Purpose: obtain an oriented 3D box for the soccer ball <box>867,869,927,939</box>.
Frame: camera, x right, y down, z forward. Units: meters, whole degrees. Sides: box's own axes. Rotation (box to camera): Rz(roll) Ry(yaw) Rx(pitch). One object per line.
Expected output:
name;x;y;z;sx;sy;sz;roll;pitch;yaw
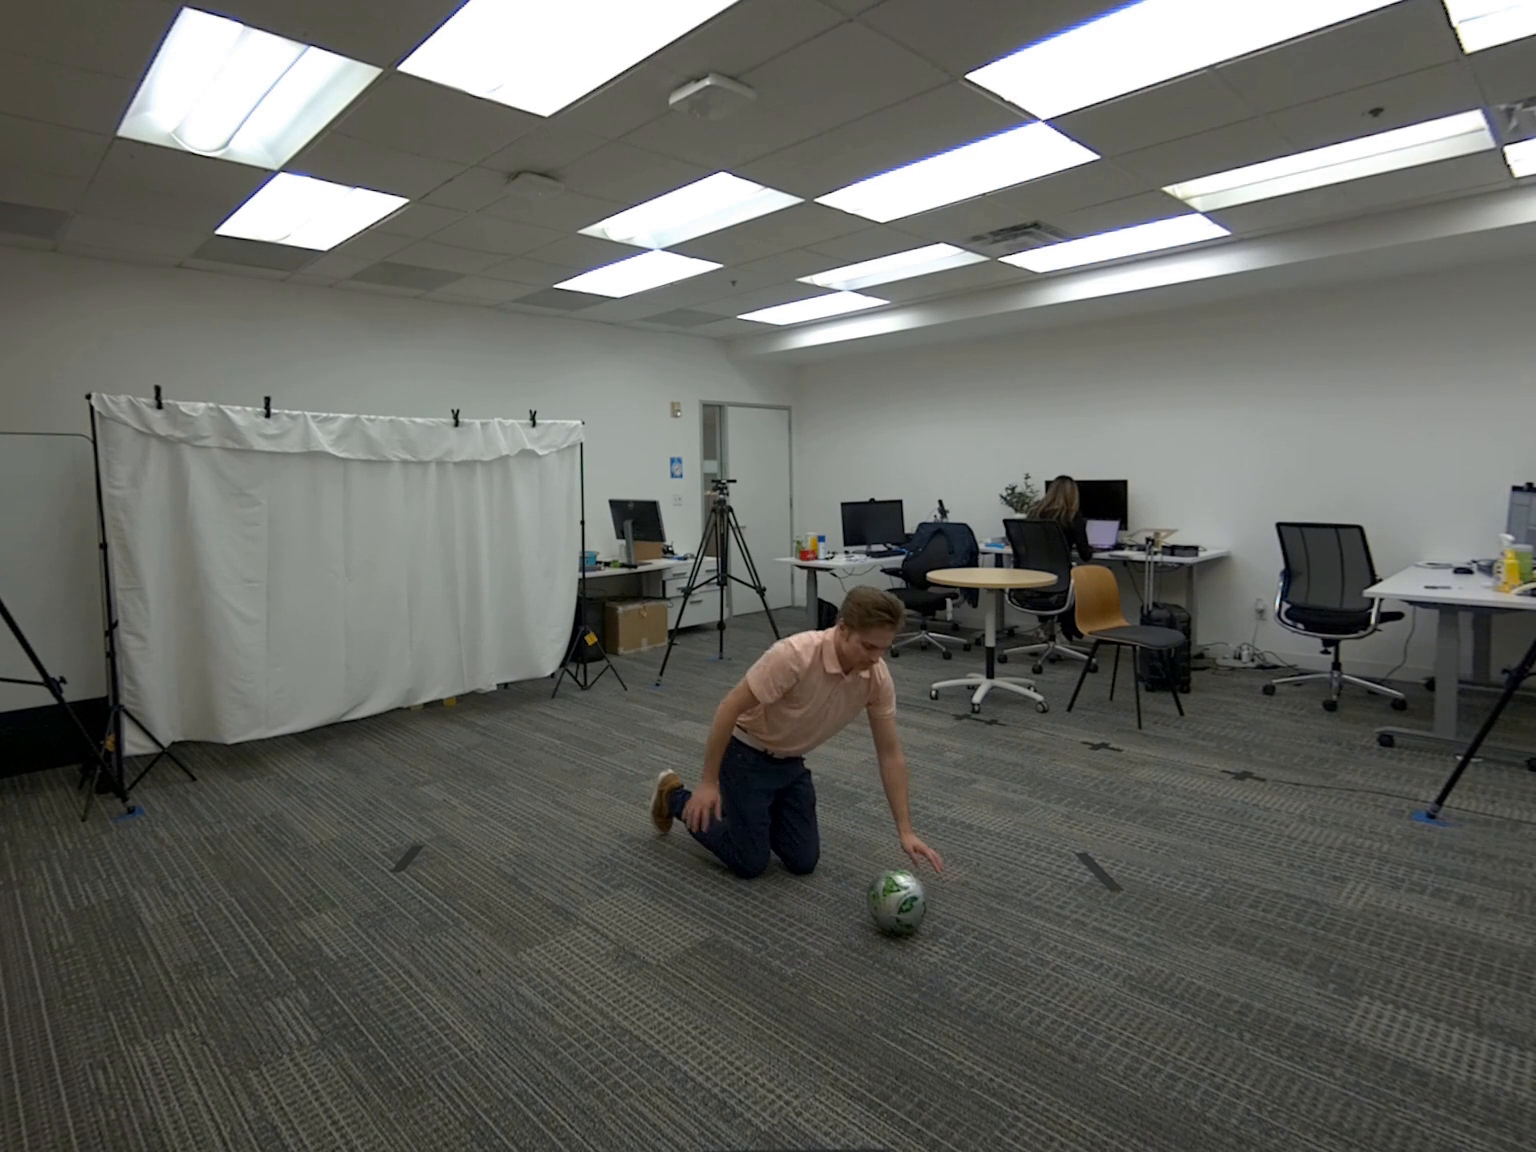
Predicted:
soccer ball;0.406;1.004;2.631;0.187;0.187;0.188;-1;5;-2
